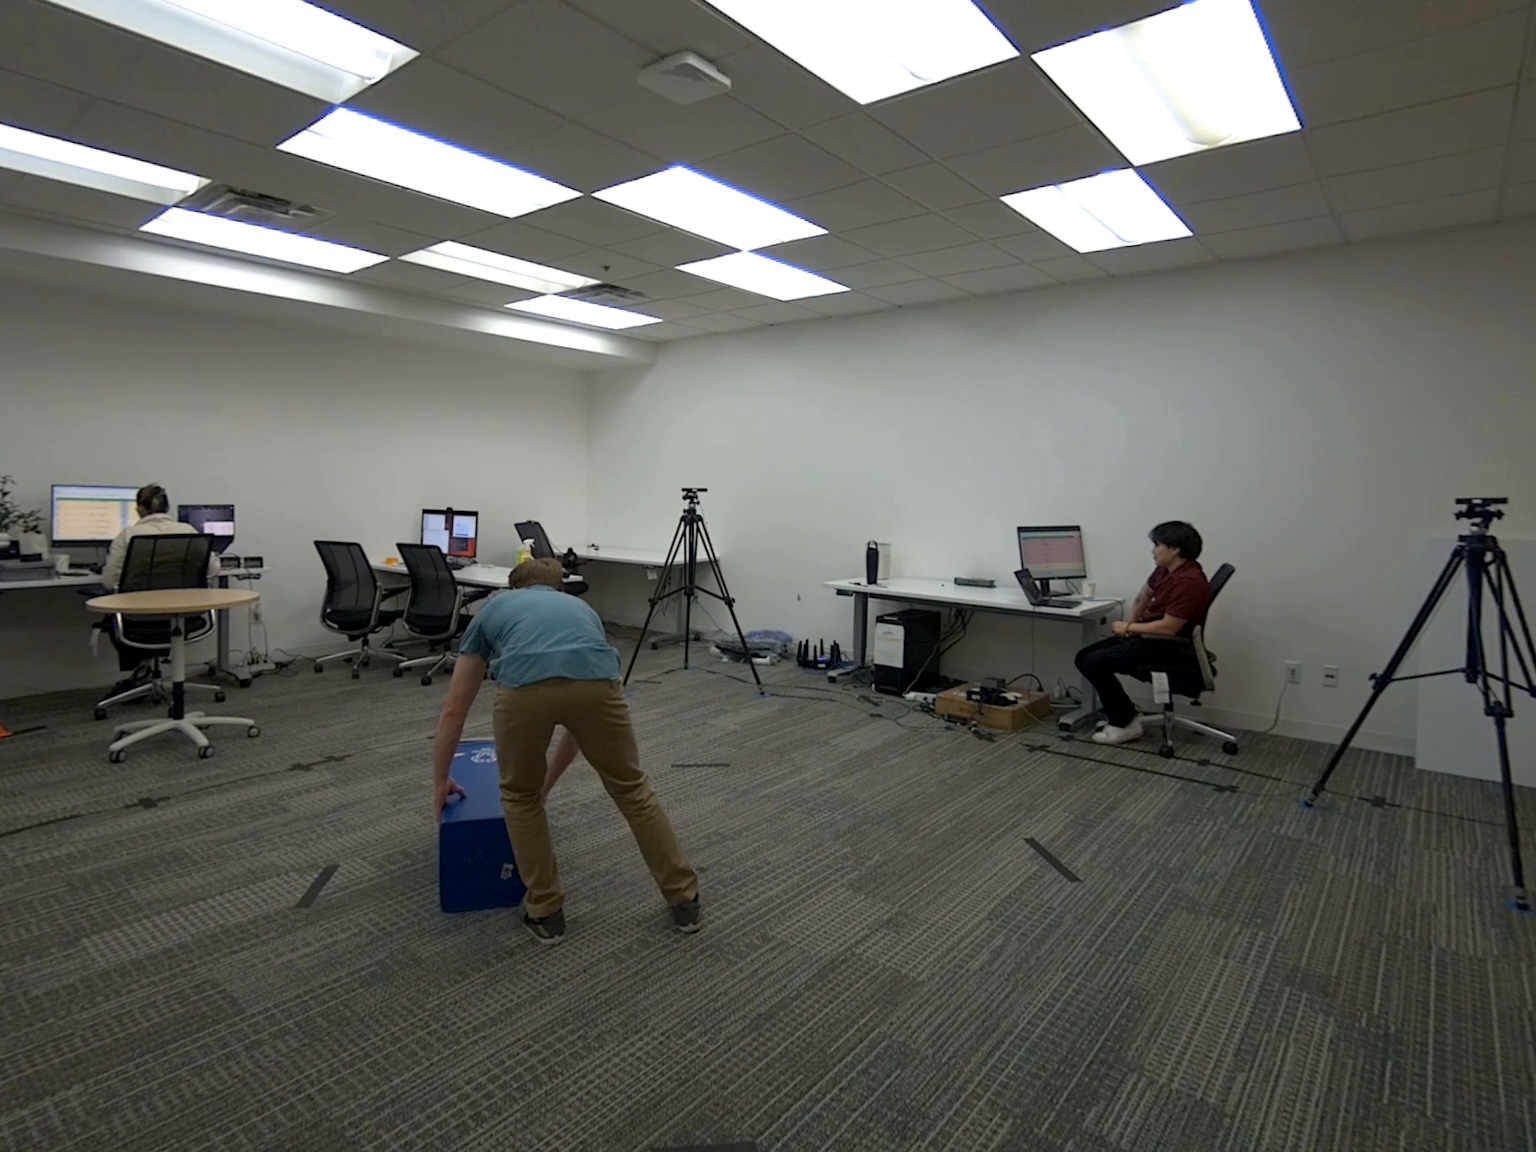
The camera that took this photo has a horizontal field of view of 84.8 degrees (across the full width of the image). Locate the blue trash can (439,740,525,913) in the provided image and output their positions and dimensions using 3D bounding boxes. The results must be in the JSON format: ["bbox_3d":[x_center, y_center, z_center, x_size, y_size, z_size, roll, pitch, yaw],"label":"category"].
[{"bbox_3d":[-1.030,0.891,3.123,0.368,0.376,0.730,0,8,-17],"label":"blue trash can"}]
